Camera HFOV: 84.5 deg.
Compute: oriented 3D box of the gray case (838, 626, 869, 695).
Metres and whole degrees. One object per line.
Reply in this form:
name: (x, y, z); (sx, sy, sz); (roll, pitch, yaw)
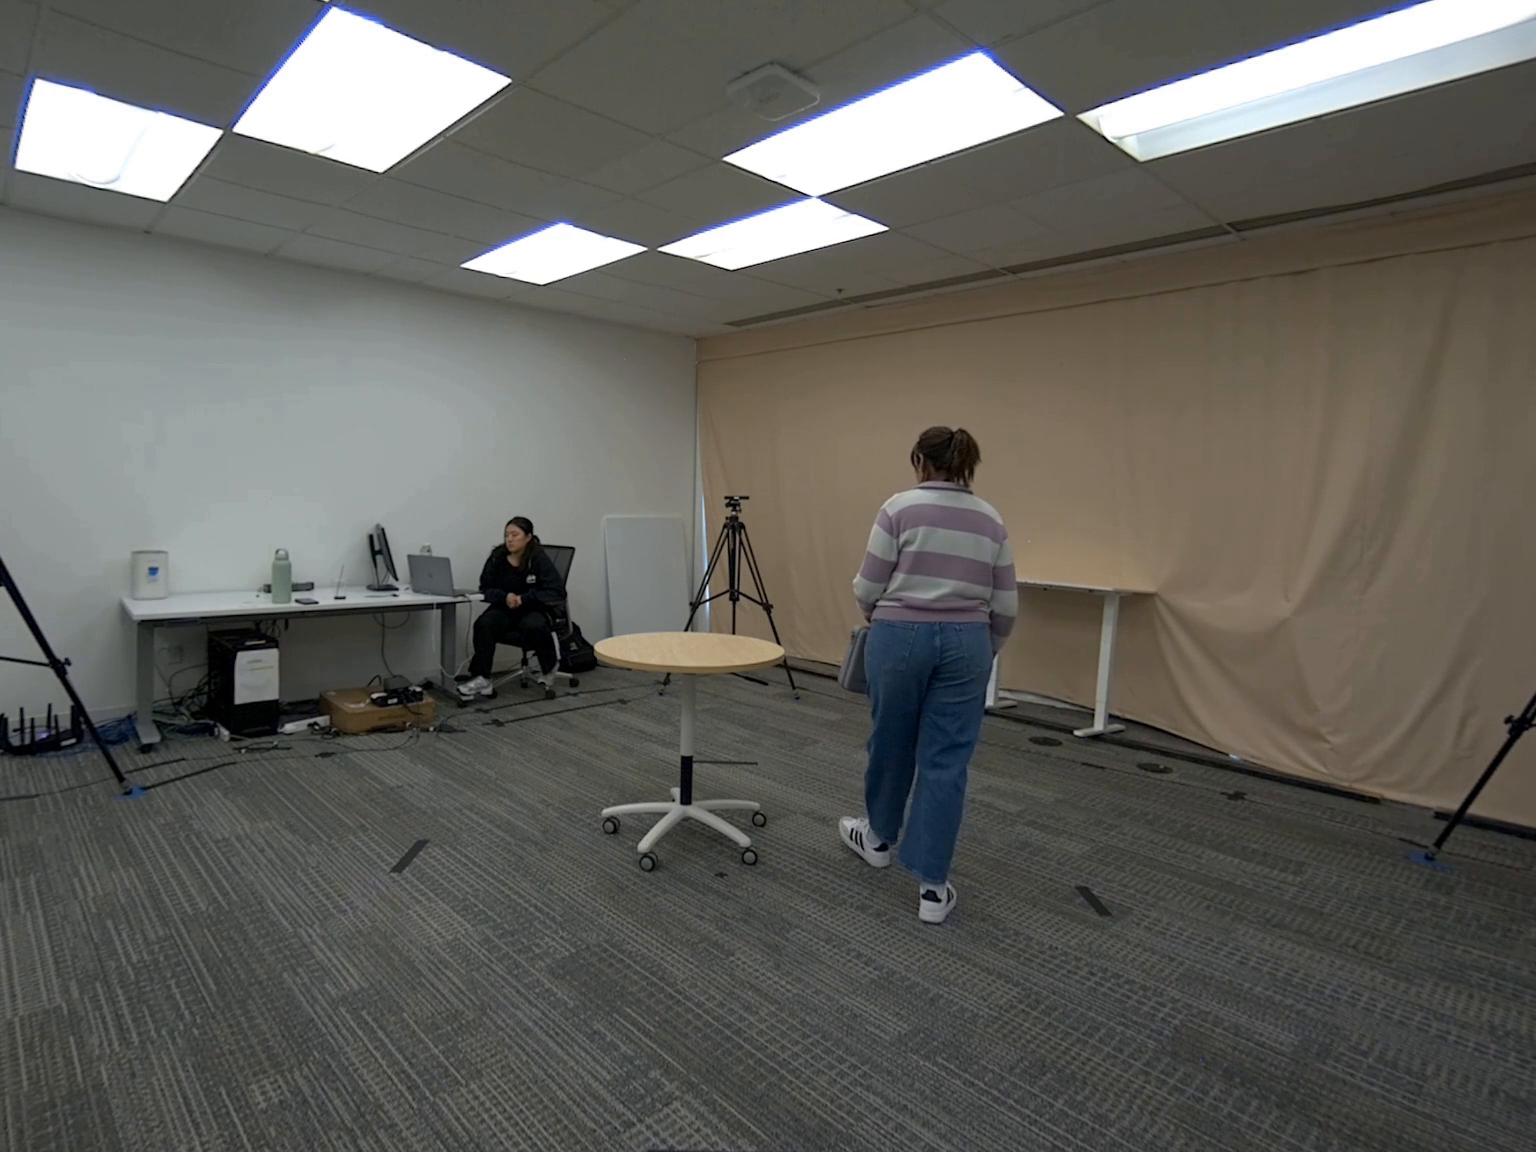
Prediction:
gray case: (0.421, 0.328, 3.247); (0.253, 0.260, 0.106); (14, 4, -18)
